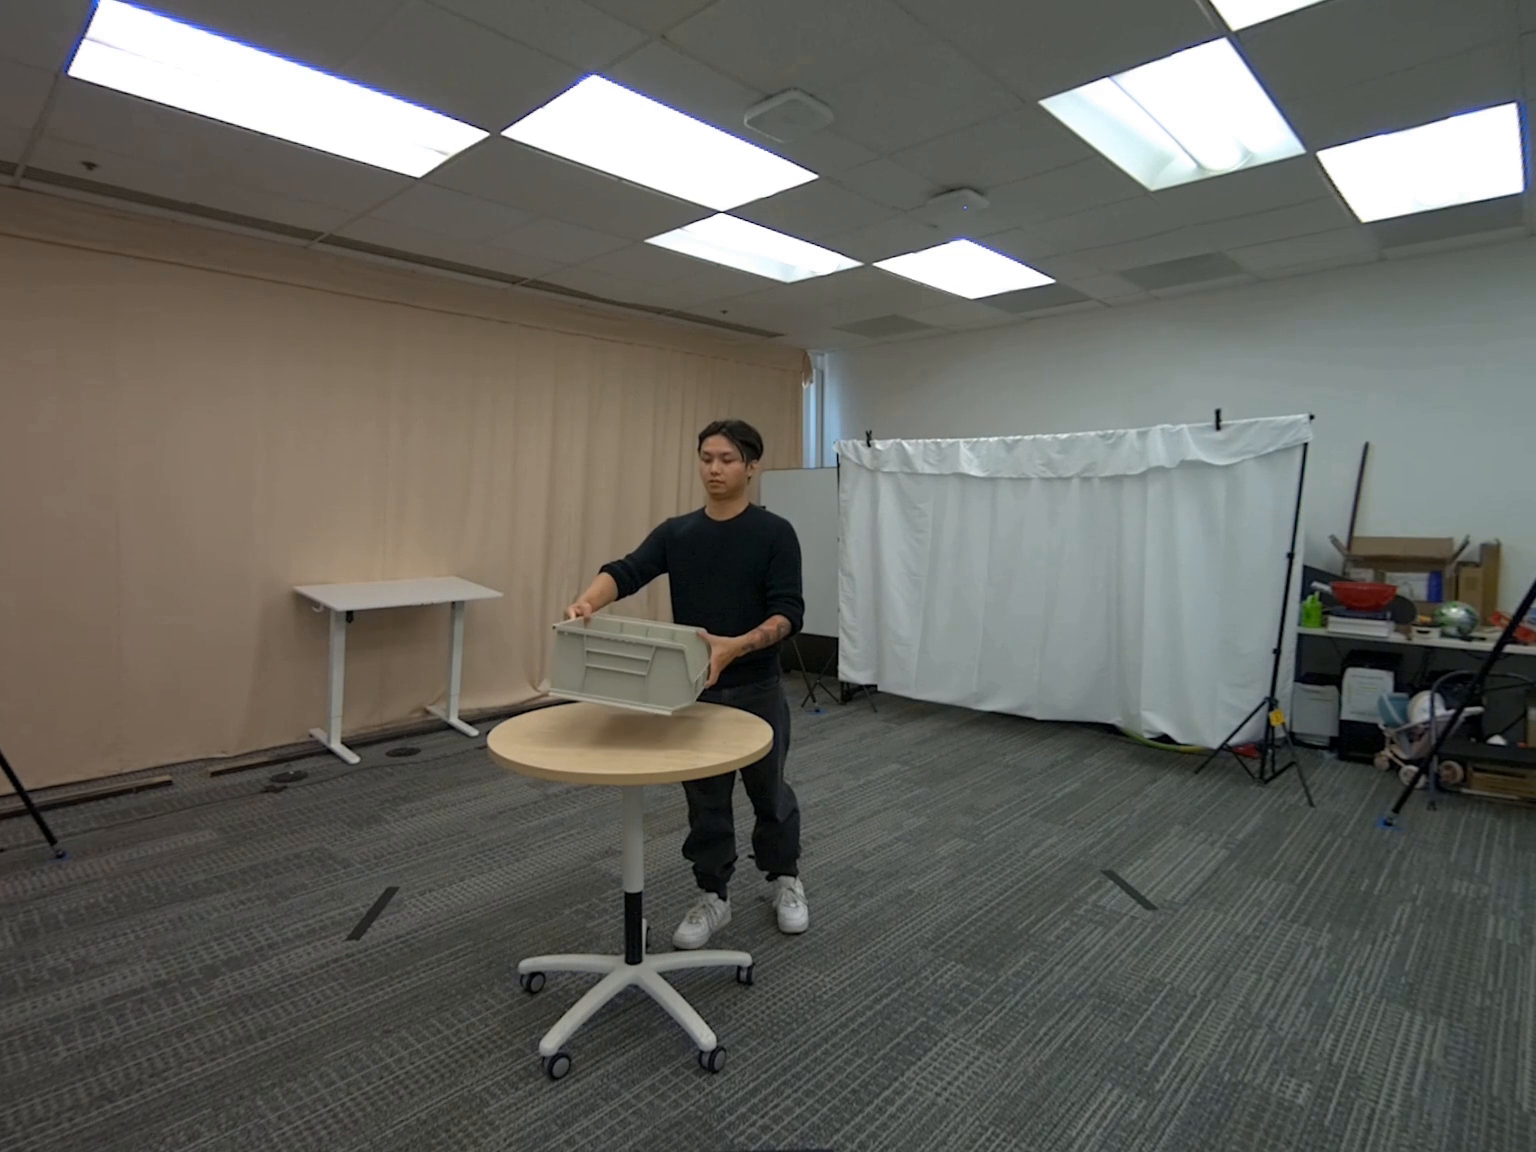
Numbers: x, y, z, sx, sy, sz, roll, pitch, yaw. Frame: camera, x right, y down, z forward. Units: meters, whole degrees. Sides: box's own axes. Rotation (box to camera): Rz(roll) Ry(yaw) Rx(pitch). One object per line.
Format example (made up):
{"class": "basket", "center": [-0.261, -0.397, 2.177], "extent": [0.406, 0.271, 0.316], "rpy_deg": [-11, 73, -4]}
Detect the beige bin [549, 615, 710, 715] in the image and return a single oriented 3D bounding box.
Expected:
{"class": "beige bin", "center": [-0.364, 0.241, 2.280], "extent": [0.380, 0.189, 0.420], "rpy_deg": [7, 3, 5]}
